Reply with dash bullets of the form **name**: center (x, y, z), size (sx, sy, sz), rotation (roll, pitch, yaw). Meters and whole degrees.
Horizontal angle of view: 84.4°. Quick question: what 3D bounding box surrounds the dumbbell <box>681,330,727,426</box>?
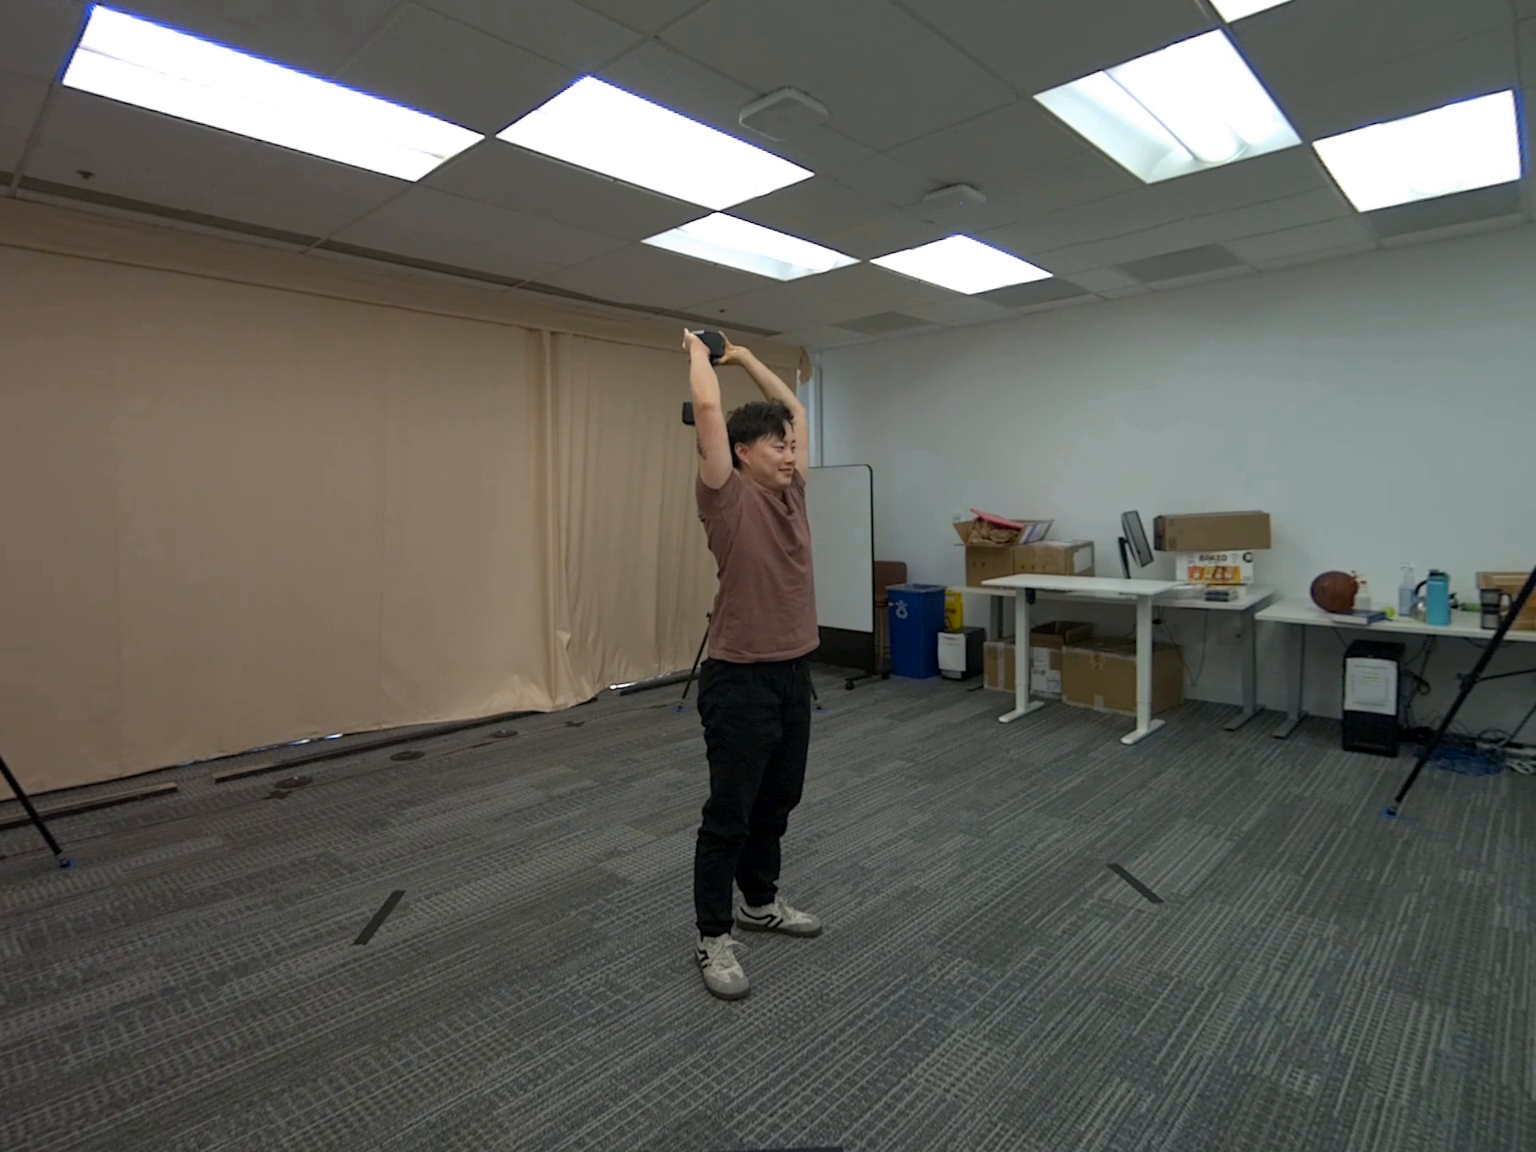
- **dumbbell**: center (-0.200, -0.616, 2.665), size (0.127, 0.293, 0.105), rotation (14, 8, 43)
